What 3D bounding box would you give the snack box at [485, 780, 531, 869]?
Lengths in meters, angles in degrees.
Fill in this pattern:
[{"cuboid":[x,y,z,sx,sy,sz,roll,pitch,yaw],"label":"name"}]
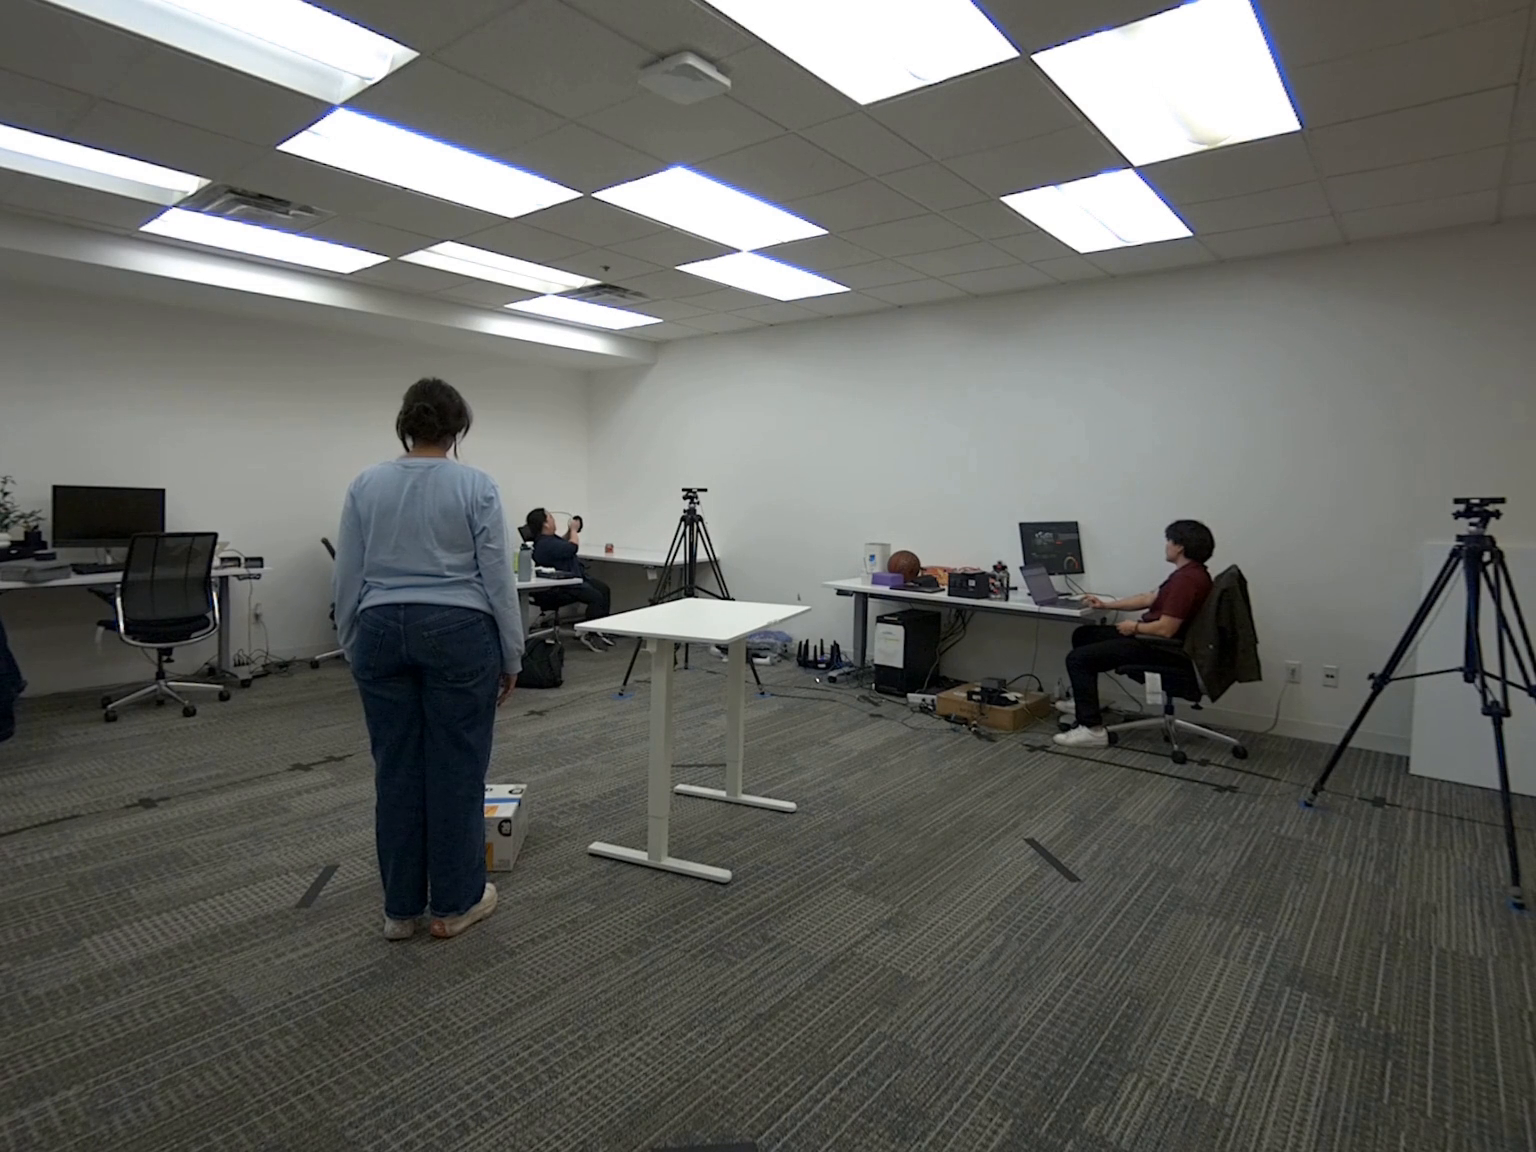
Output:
[{"cuboid":[-1.141,0.939,3.202,0.403,0.205,0.343,0,5,-5],"label":"snack box"}]
